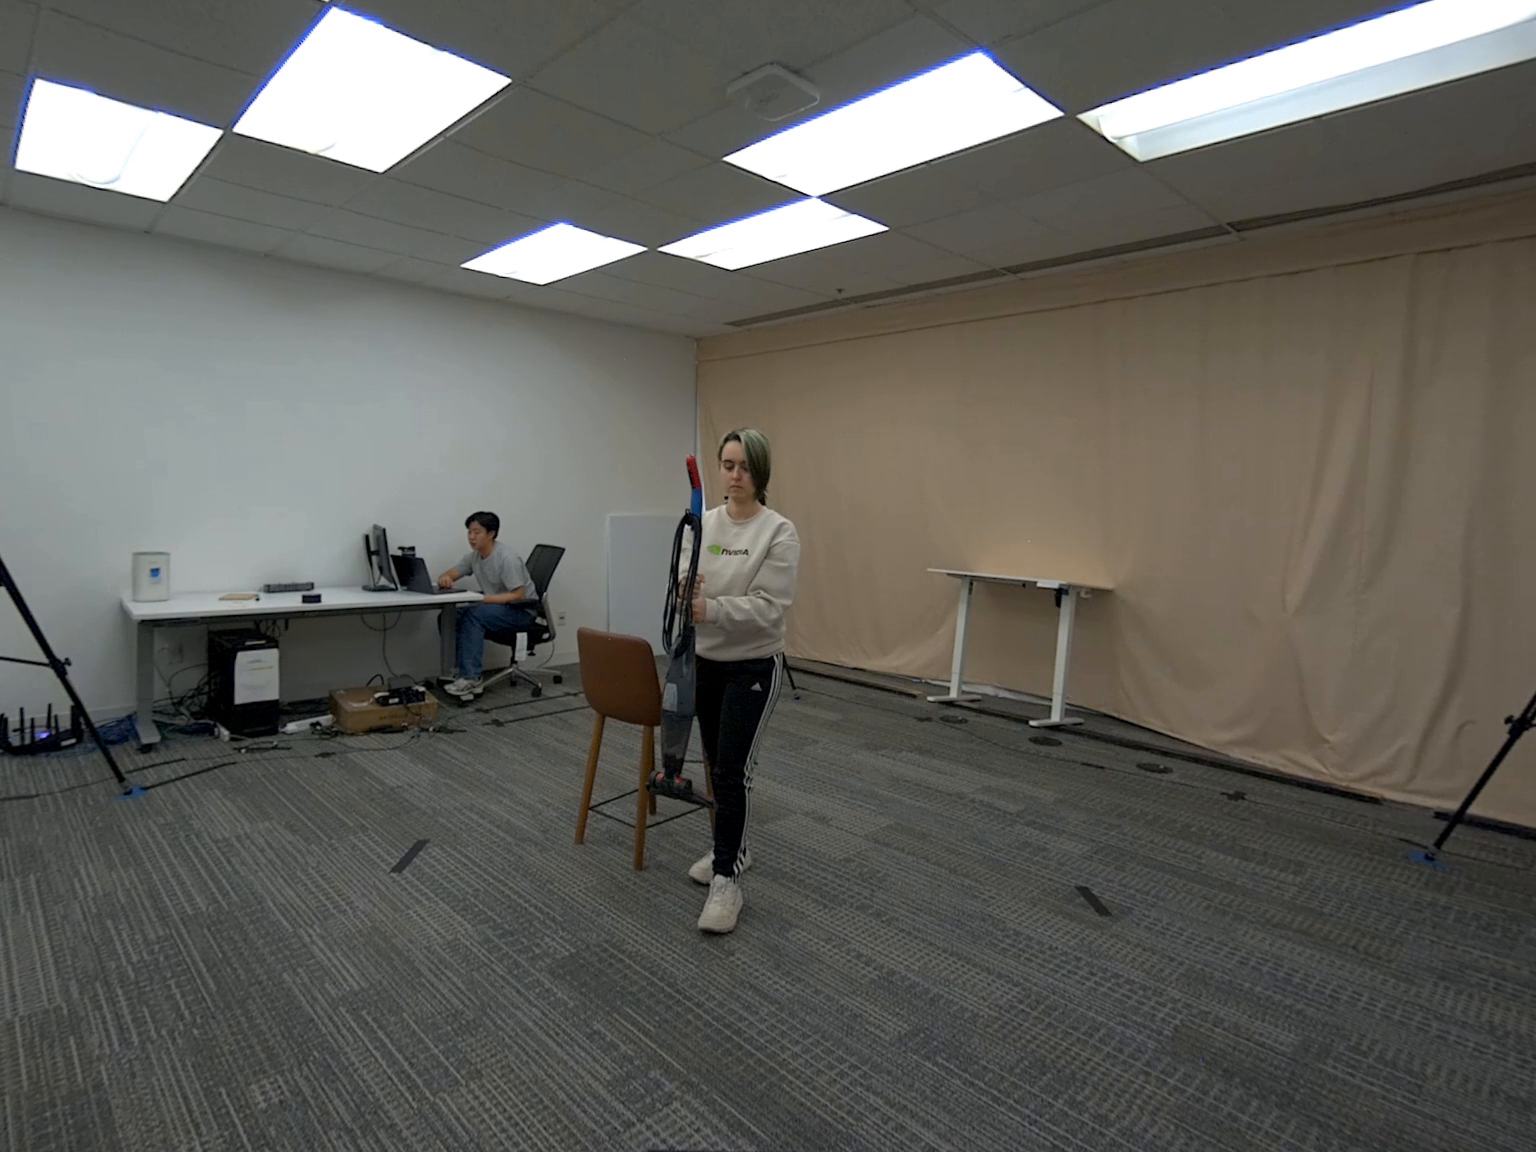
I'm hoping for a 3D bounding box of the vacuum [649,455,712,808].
[{"bbox_3d":[-0.276,0.165,2.603,0.257,1.045,0.142,5,6,24],"label":"vacuum"}]
